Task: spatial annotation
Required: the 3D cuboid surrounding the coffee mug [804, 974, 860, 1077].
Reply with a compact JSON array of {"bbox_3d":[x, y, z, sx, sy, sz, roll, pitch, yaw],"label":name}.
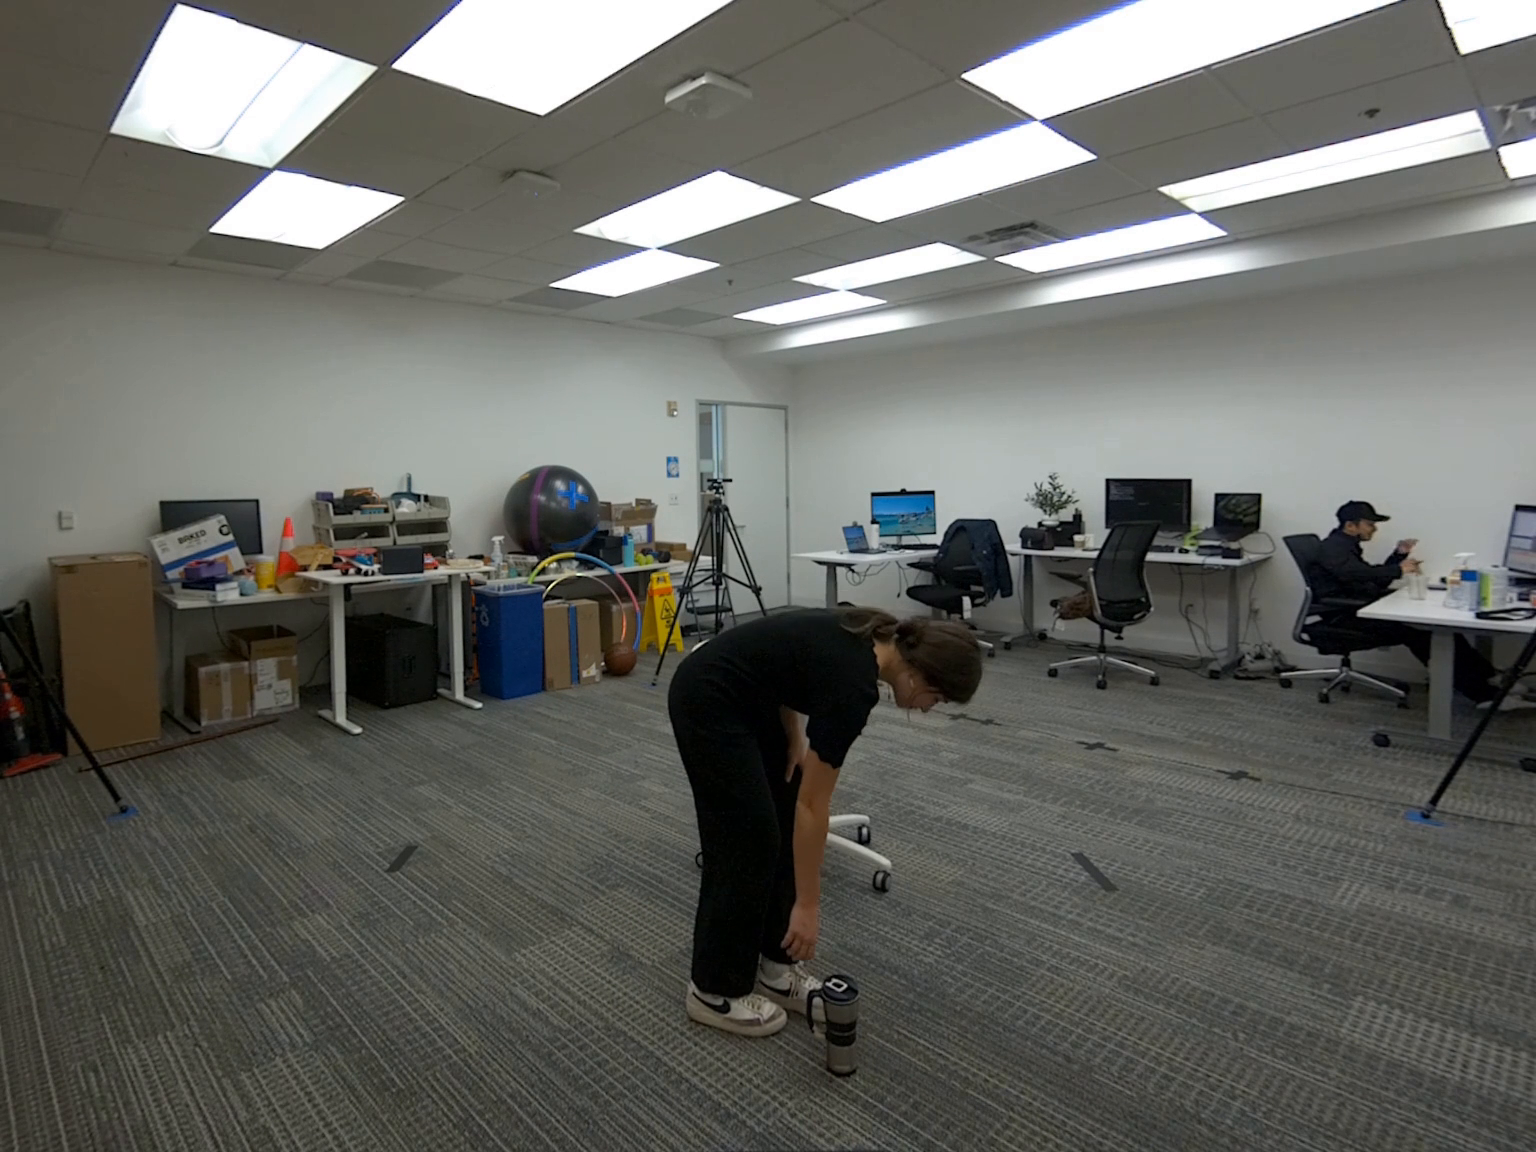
[{"bbox_3d":[0.162,1.076,2.031,0.126,0.201,0.086,9,11,42],"label":"coffee mug"}]
